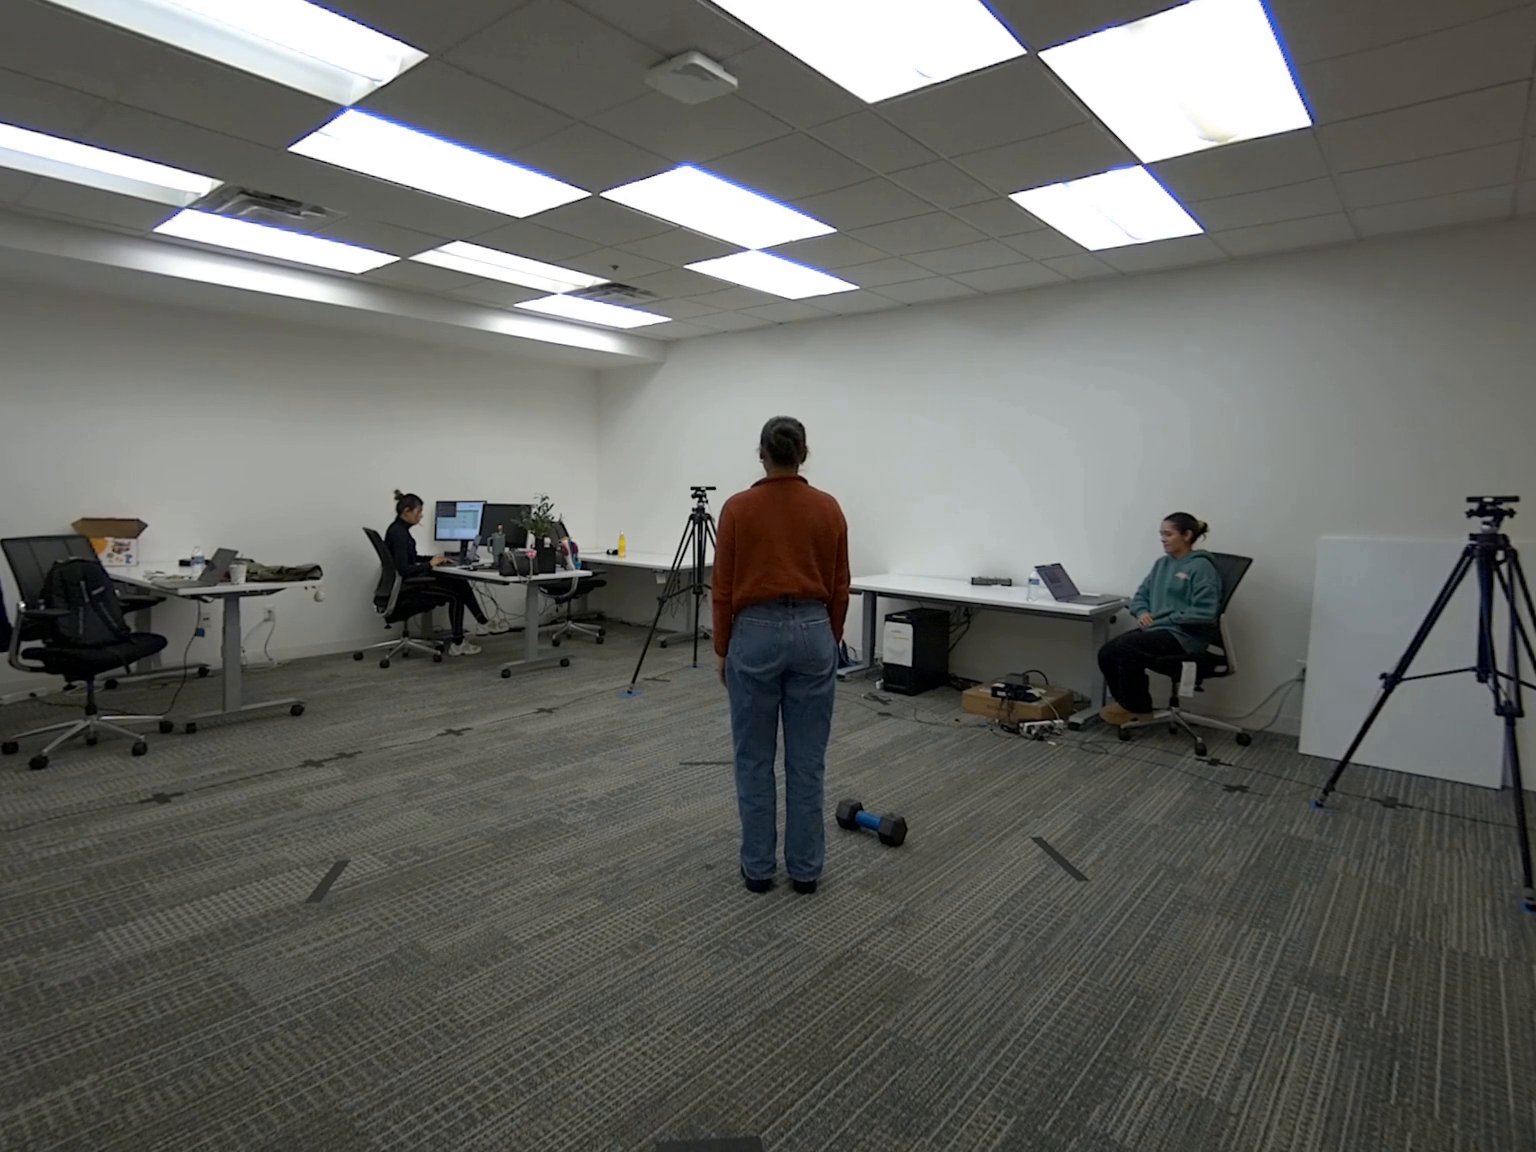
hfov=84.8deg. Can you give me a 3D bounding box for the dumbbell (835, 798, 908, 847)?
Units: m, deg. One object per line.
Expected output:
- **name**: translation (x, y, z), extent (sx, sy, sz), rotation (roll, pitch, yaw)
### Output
- **dumbbell**: translation (0.408, 0.989, 3.441), extent (0.304, 0.119, 0.108), rotation (6, 37, 45)
